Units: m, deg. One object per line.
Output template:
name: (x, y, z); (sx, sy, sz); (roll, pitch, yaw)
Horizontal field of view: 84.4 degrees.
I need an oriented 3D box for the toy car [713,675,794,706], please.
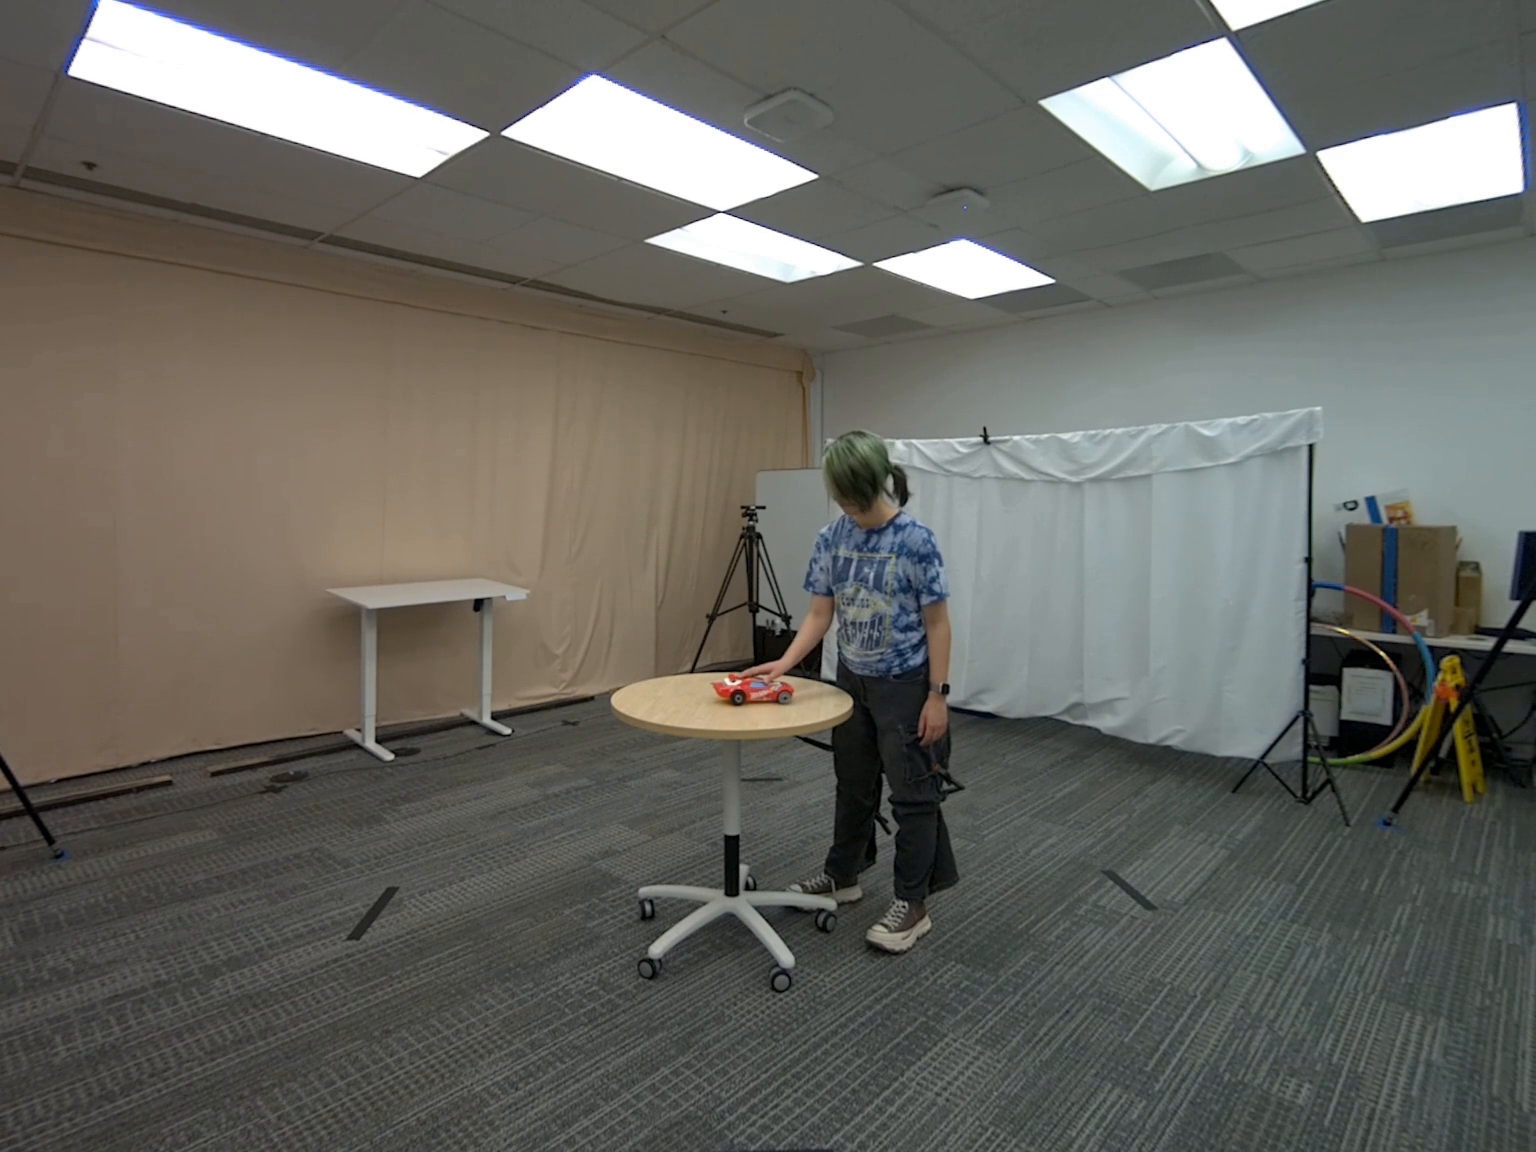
toy car: (-0.044, 0.364, 2.627); (0.252, 0.083, 0.132); (11, 3, -8)
